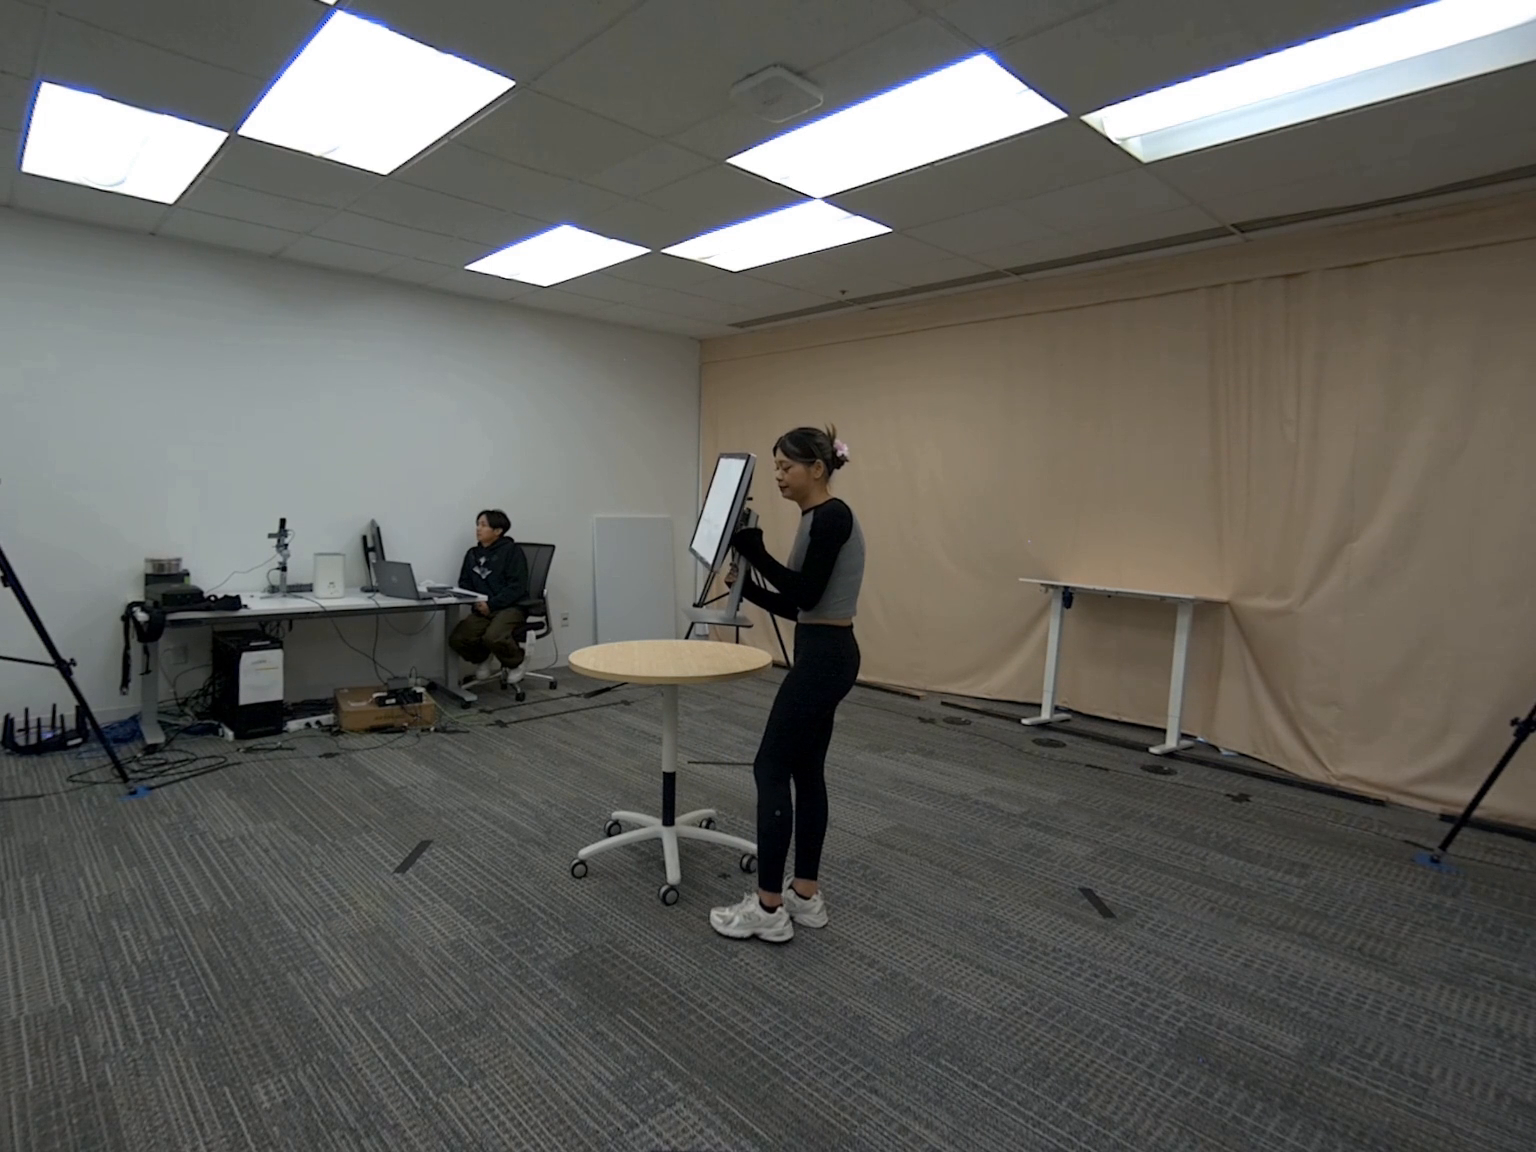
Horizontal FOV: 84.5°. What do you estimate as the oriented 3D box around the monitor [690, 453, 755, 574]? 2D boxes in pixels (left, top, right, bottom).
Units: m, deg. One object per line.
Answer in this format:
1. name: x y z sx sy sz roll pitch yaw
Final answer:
1. monitor: -0.136 -0.122 2.726 0.185 0.521 0.547 5 6 -14
